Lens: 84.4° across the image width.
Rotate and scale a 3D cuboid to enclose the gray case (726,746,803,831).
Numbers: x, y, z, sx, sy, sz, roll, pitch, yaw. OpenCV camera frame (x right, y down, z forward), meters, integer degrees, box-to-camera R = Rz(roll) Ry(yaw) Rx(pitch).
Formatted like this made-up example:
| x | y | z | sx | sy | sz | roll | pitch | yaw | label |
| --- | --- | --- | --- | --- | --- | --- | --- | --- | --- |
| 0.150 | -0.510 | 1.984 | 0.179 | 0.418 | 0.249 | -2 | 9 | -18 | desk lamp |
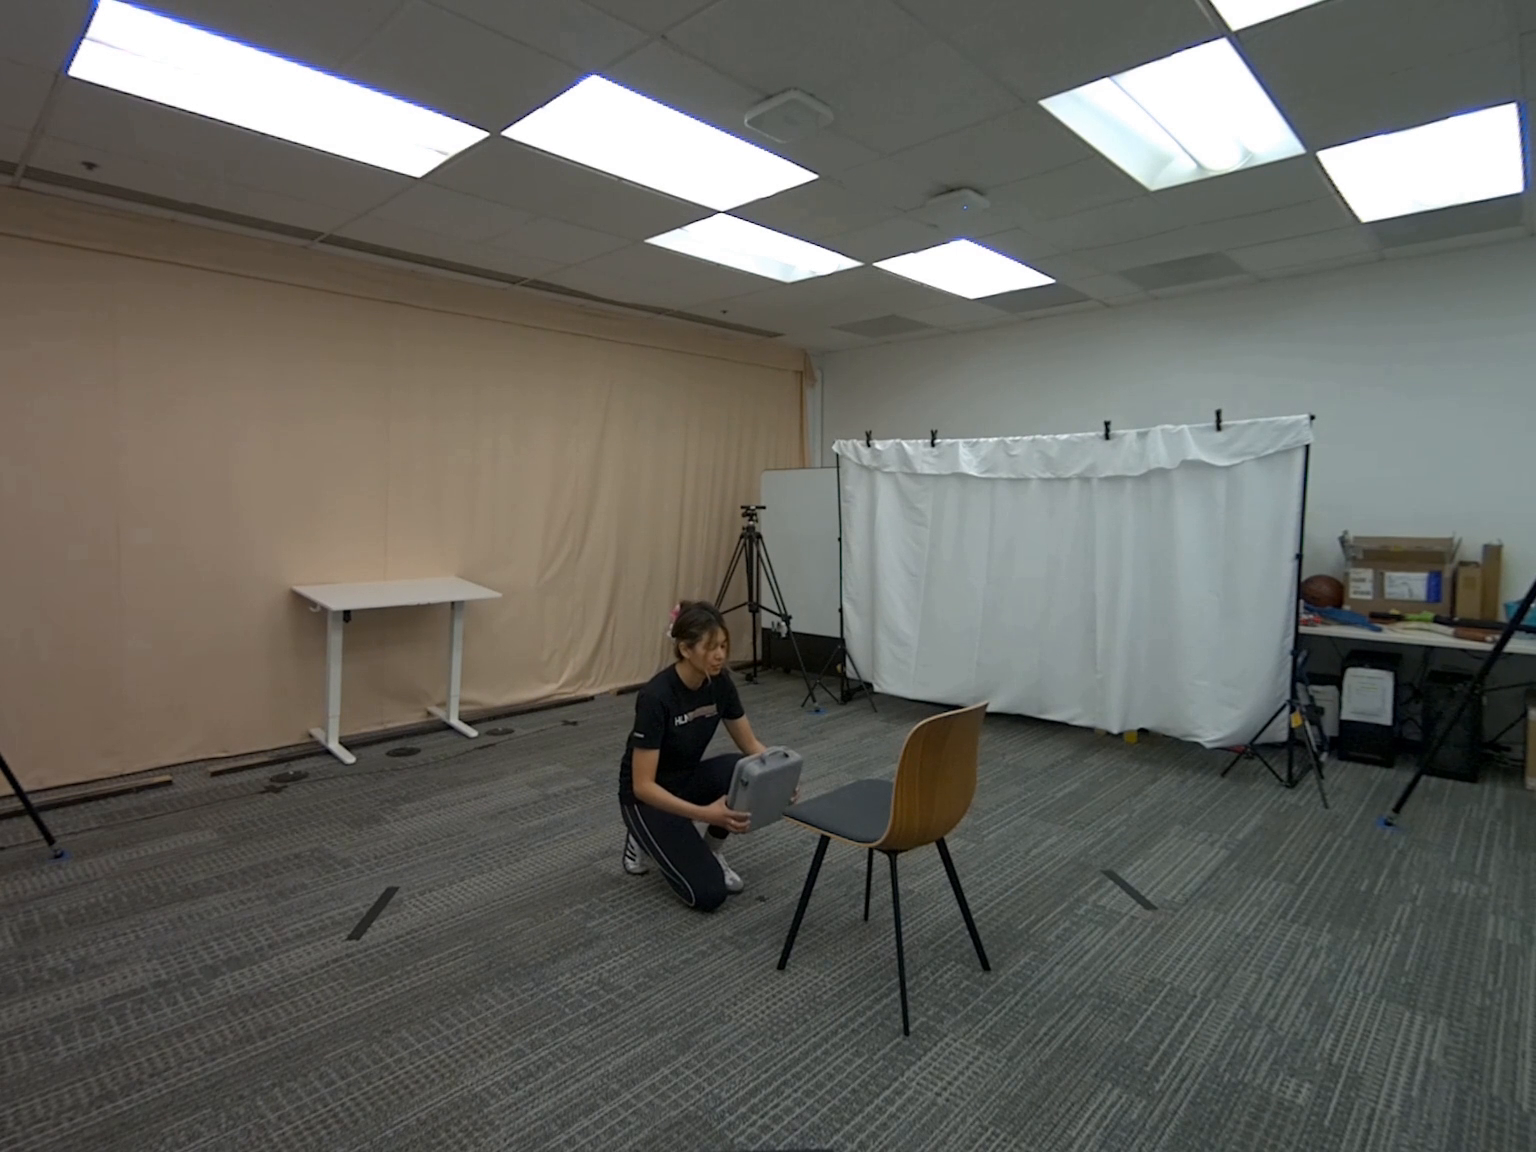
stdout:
| x | y | z | sx | sy | sz | roll | pitch | yaw | label |
| --- | --- | --- | --- | --- | --- | --- | --- | --- | --- |
| -0.012 | 0.712 | 2.850 | 0.249 | 0.259 | 0.108 | -8 | 26 | -44 | gray case |
